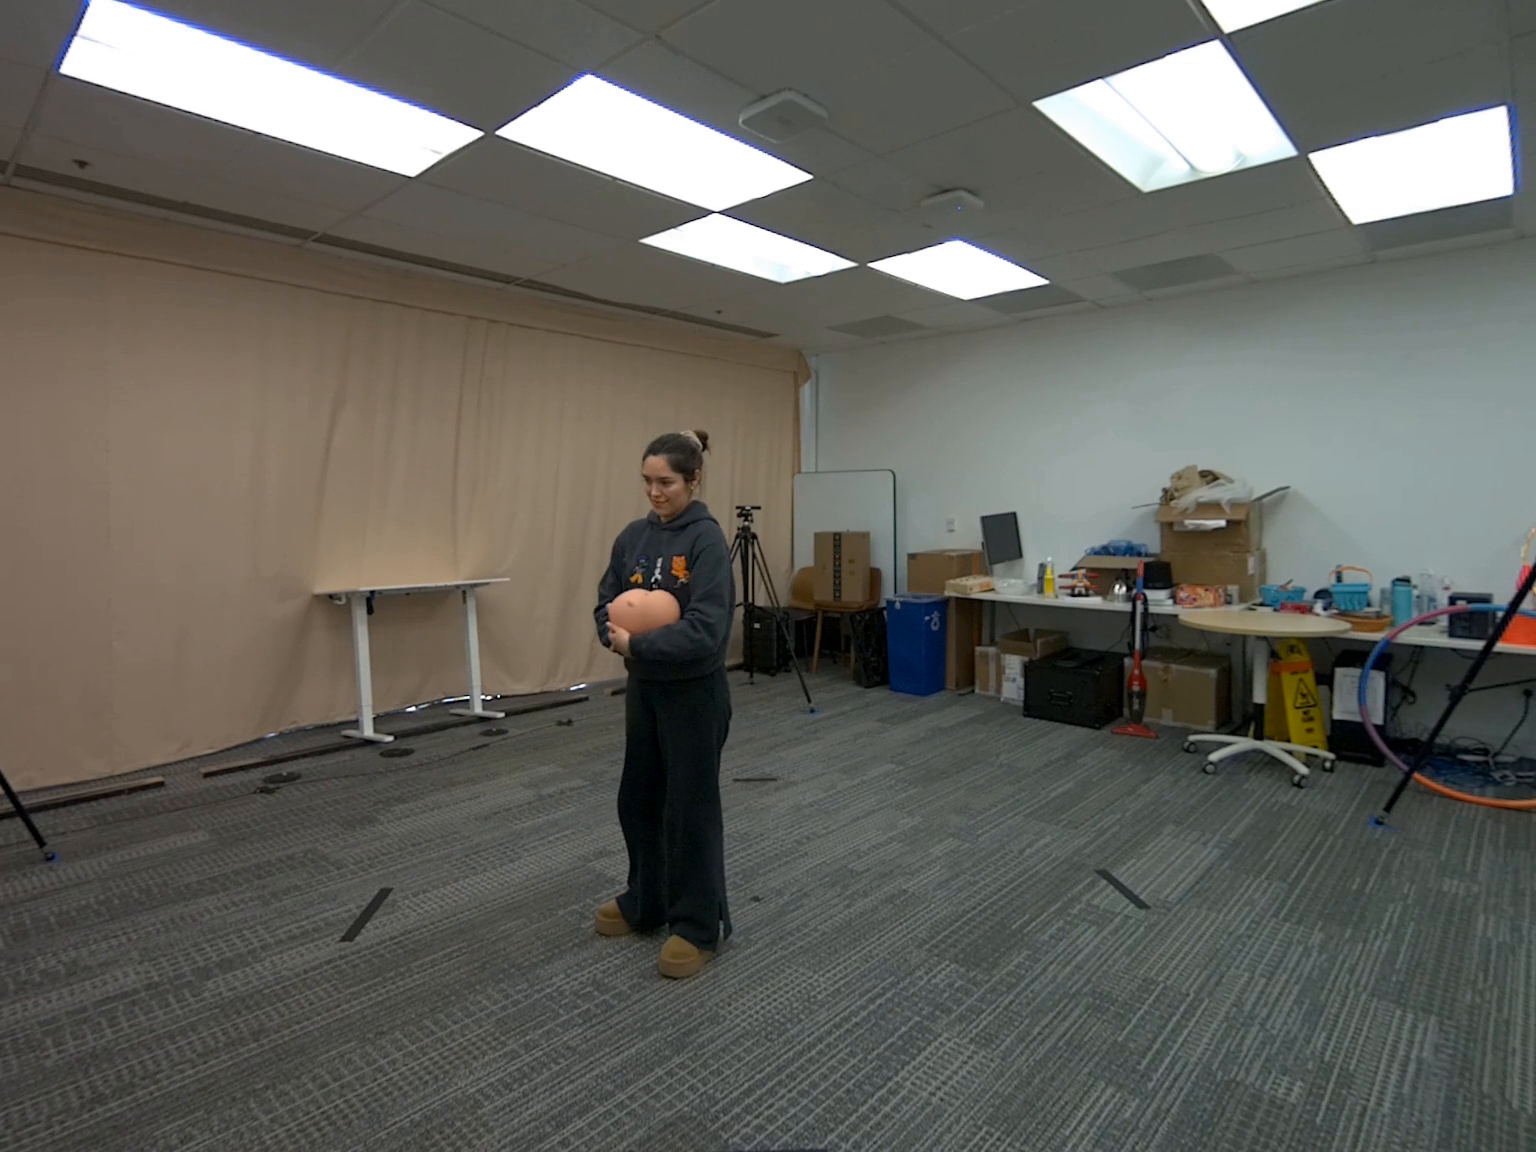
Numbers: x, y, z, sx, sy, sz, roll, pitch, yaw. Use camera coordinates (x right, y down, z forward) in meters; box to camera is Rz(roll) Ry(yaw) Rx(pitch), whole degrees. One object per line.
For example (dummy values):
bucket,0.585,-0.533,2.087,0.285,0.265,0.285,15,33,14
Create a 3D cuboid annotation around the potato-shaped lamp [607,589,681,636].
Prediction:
potato-shaped lamp,-0.341,0.112,2.470,0.202,0.172,0.161,-22,-2,30
